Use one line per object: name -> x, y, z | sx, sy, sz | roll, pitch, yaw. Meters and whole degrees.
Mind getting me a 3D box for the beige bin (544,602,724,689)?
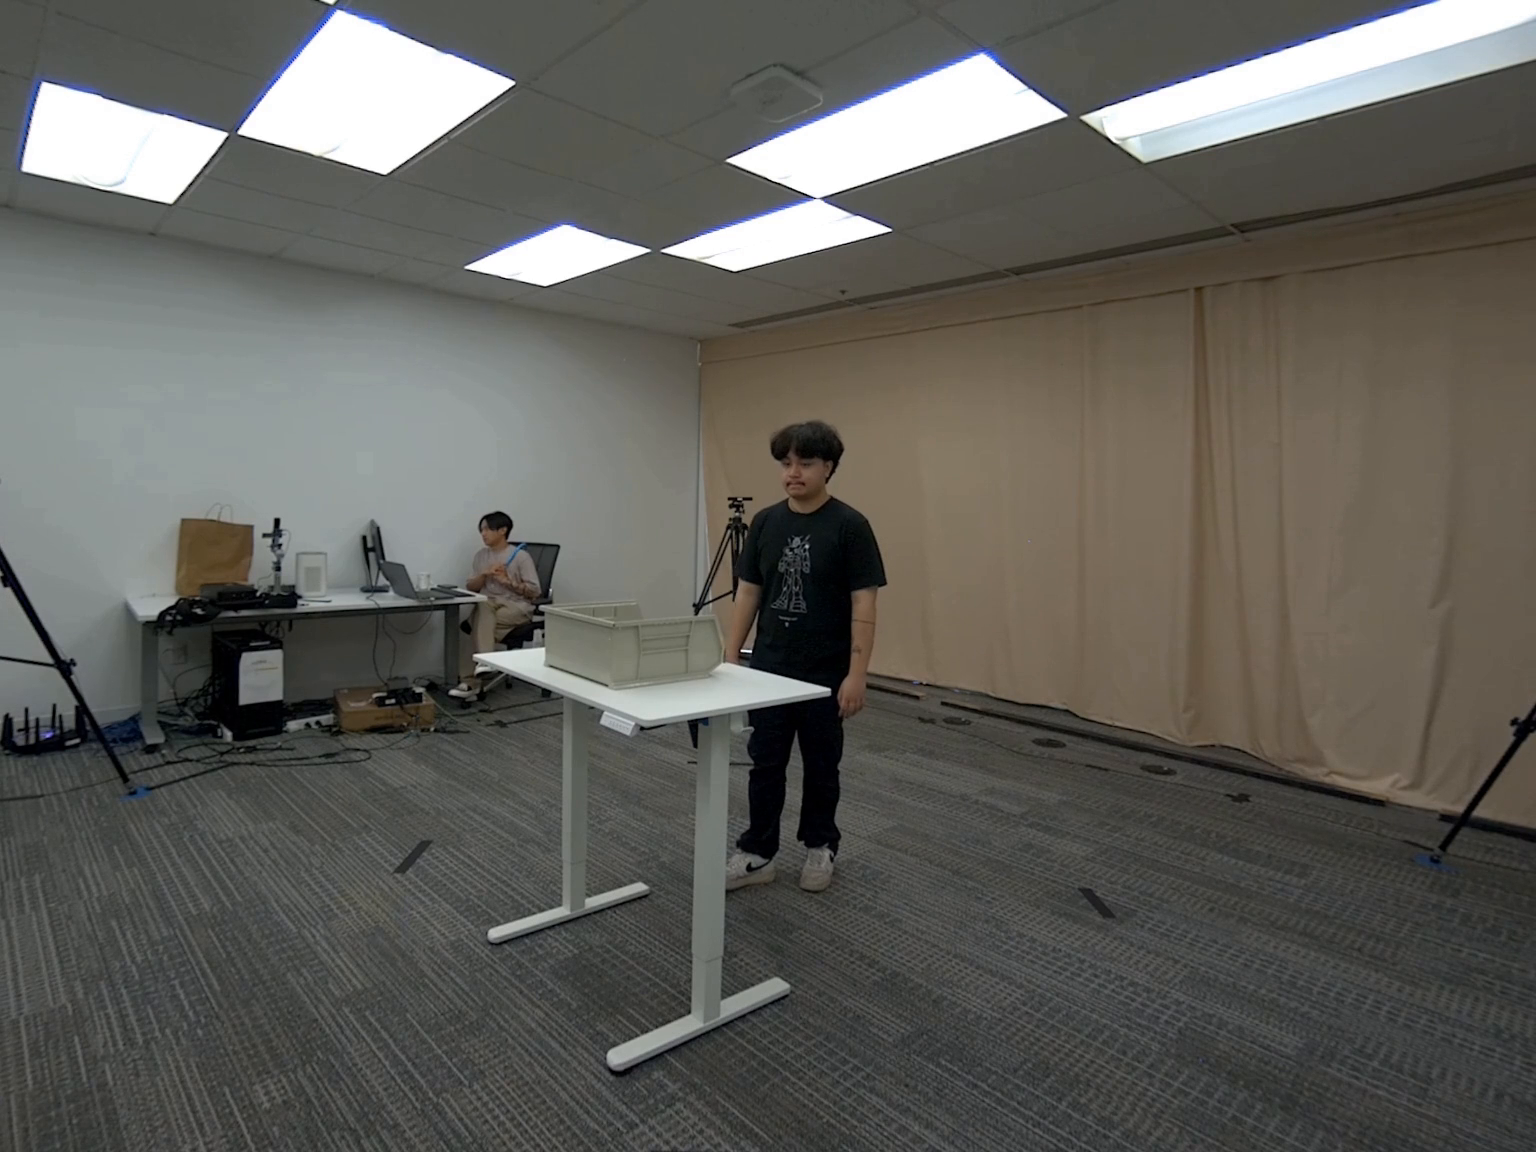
beige bin -> -0.407, 0.193, 2.457 | 0.369, 0.188, 0.433 | -3, 6, -40
